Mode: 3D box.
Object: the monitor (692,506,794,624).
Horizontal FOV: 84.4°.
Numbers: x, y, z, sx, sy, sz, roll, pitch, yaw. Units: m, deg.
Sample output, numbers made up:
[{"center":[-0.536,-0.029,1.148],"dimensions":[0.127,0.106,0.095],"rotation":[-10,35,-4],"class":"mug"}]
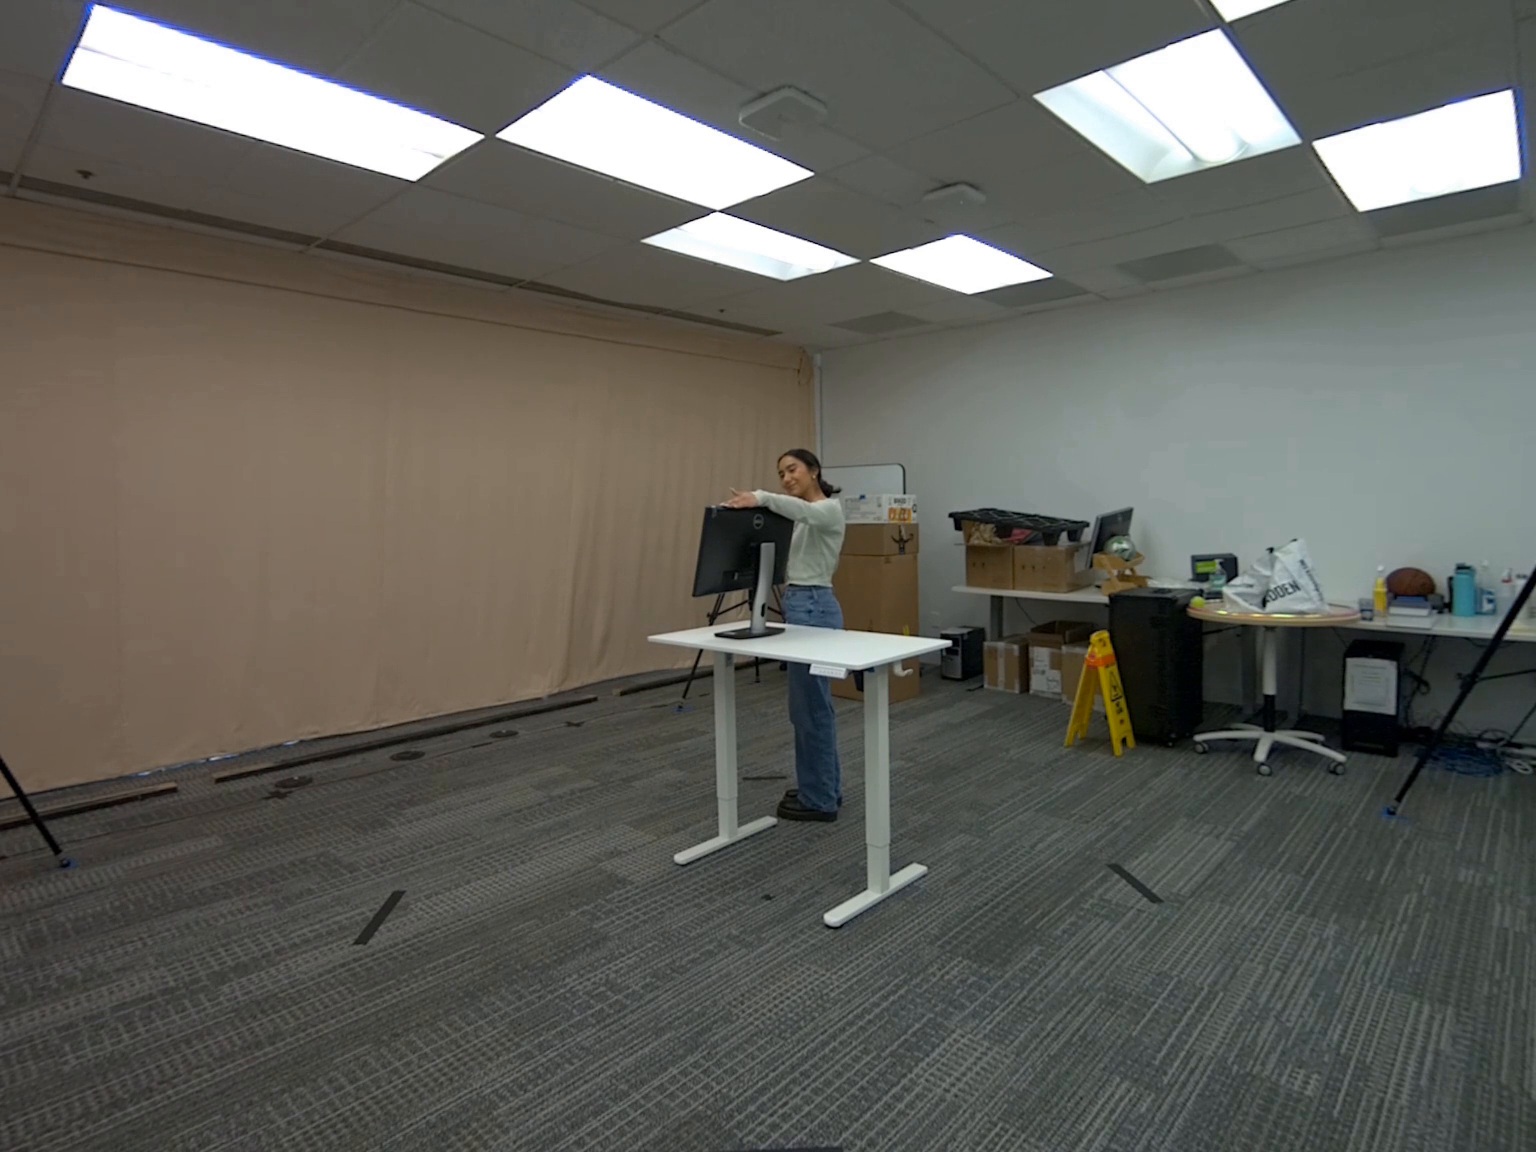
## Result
[{"center":[-0.057,-0.019,3.305],"dimensions":[0.193,0.521,0.523],"rotation":[4,6,39],"class":"monitor"}]
